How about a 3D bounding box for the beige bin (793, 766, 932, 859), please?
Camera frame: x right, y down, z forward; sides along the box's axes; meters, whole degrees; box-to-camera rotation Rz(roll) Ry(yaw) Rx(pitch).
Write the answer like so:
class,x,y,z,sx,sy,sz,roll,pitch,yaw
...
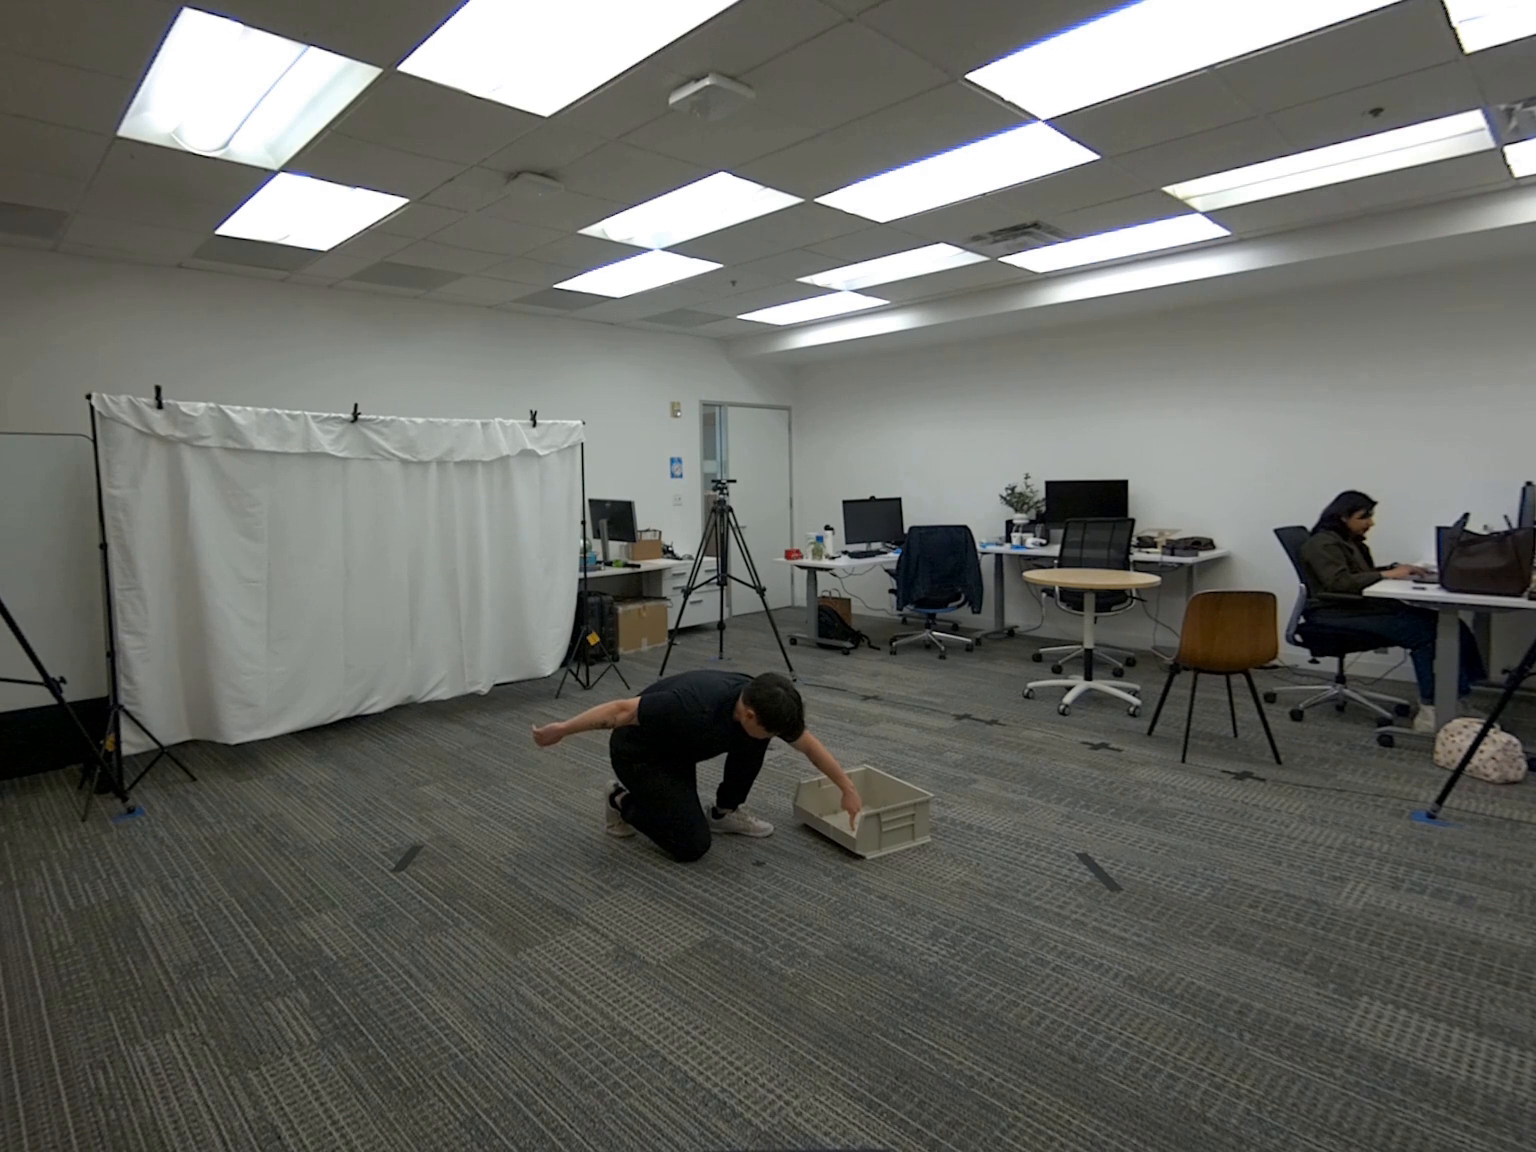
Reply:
class,x,y,z,sx,sy,sz,roll,pitch,yaw
beige bin,0.364,0.917,3.357,0.368,0.188,0.434,-4,6,-30
